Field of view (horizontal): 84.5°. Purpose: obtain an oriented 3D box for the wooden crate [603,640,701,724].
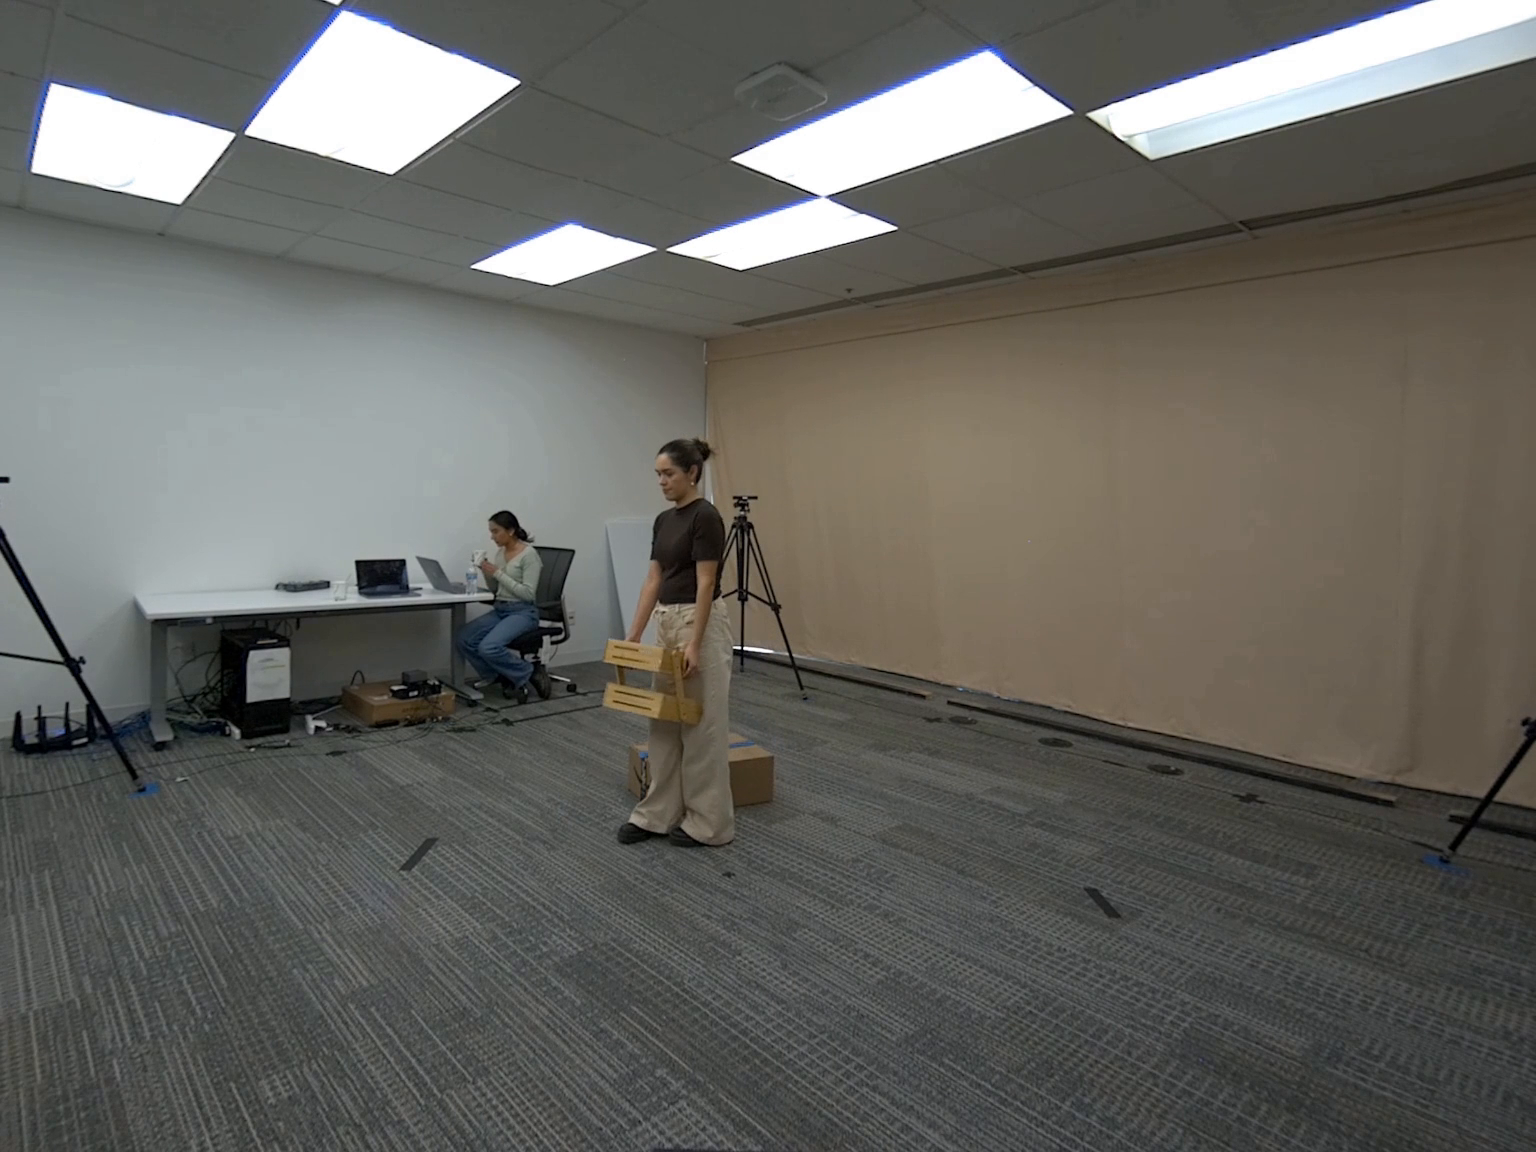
[{"bbox_3d":[-0.459,0.407,3.288,0.332,0.275,0.293,4,-10,36],"label":"wooden crate"}]
